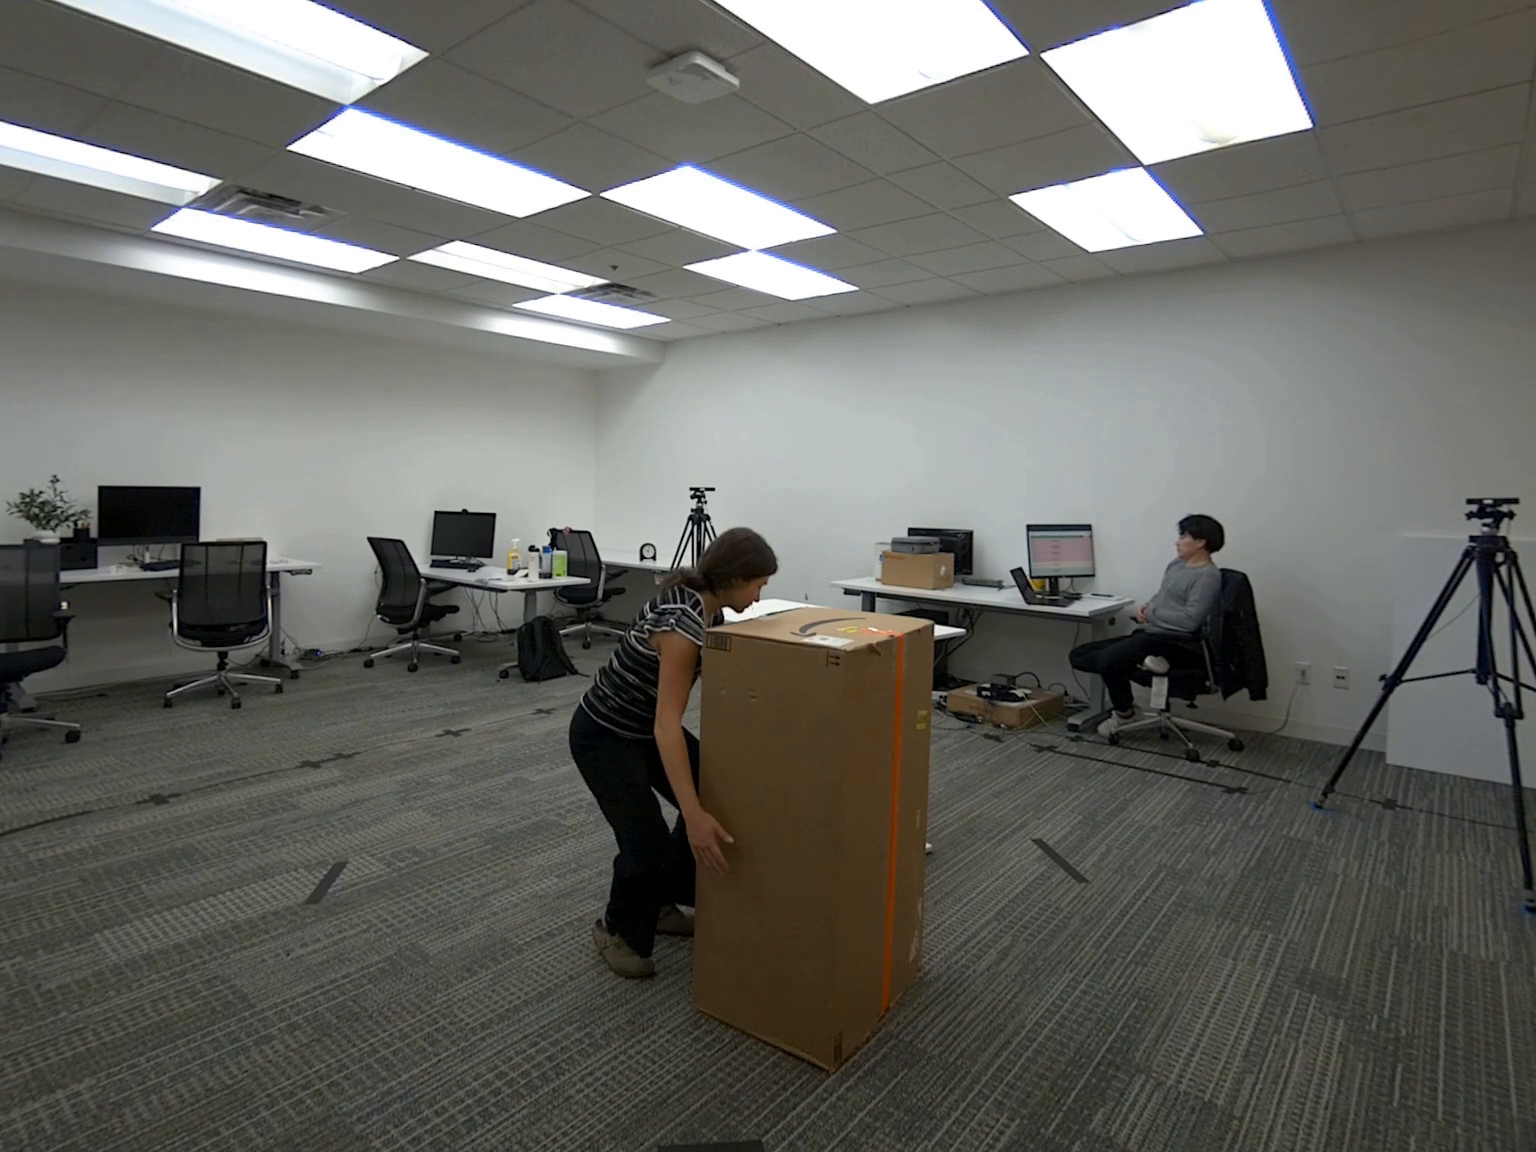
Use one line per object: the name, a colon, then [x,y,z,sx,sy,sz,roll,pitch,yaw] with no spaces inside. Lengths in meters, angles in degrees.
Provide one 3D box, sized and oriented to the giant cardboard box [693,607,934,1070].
giant cardboard box: [0.134,0.641,2.350,0.439,1.023,0.562,3,4,32]
